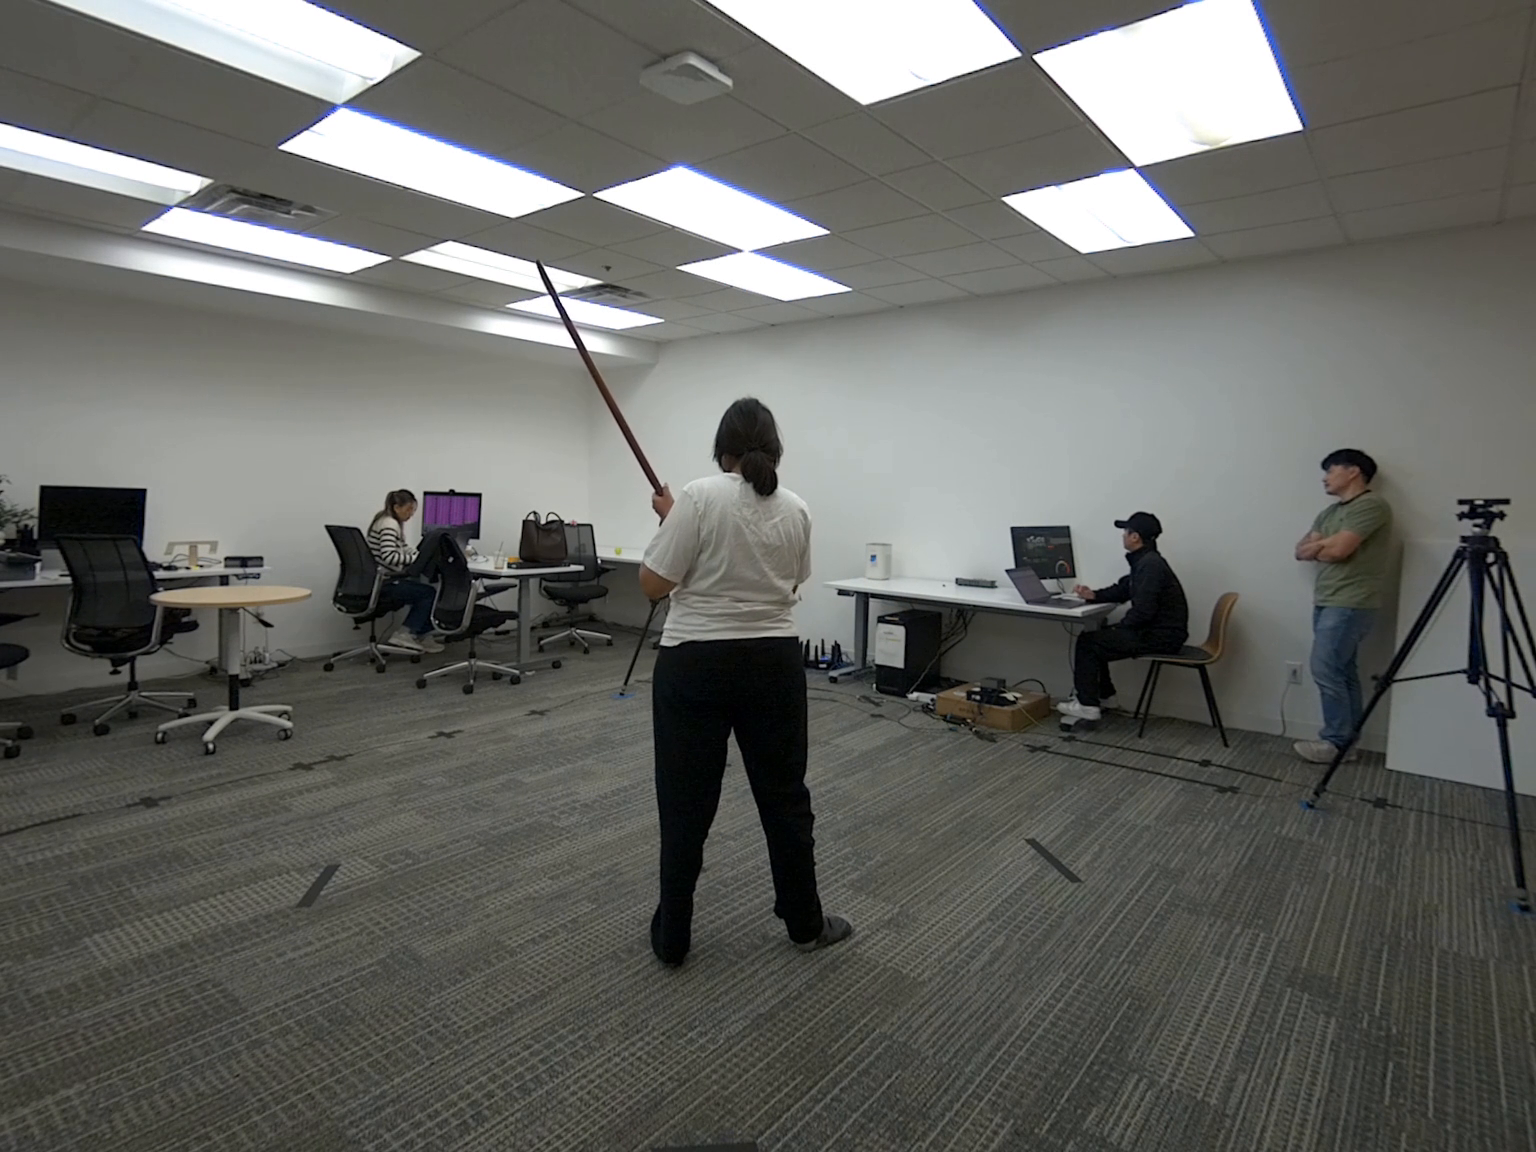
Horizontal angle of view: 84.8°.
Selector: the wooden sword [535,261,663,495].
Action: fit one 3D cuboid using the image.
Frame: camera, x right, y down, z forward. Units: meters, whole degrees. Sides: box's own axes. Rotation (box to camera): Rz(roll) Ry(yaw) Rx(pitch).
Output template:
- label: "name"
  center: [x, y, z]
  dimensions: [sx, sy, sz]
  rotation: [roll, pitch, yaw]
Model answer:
- label: "wooden sword"
  center: [-0.472, -0.497, 2.592]
  dimensions: [0.024, 1.003, 0.052]
  rotation: [-26, 16, 7]
